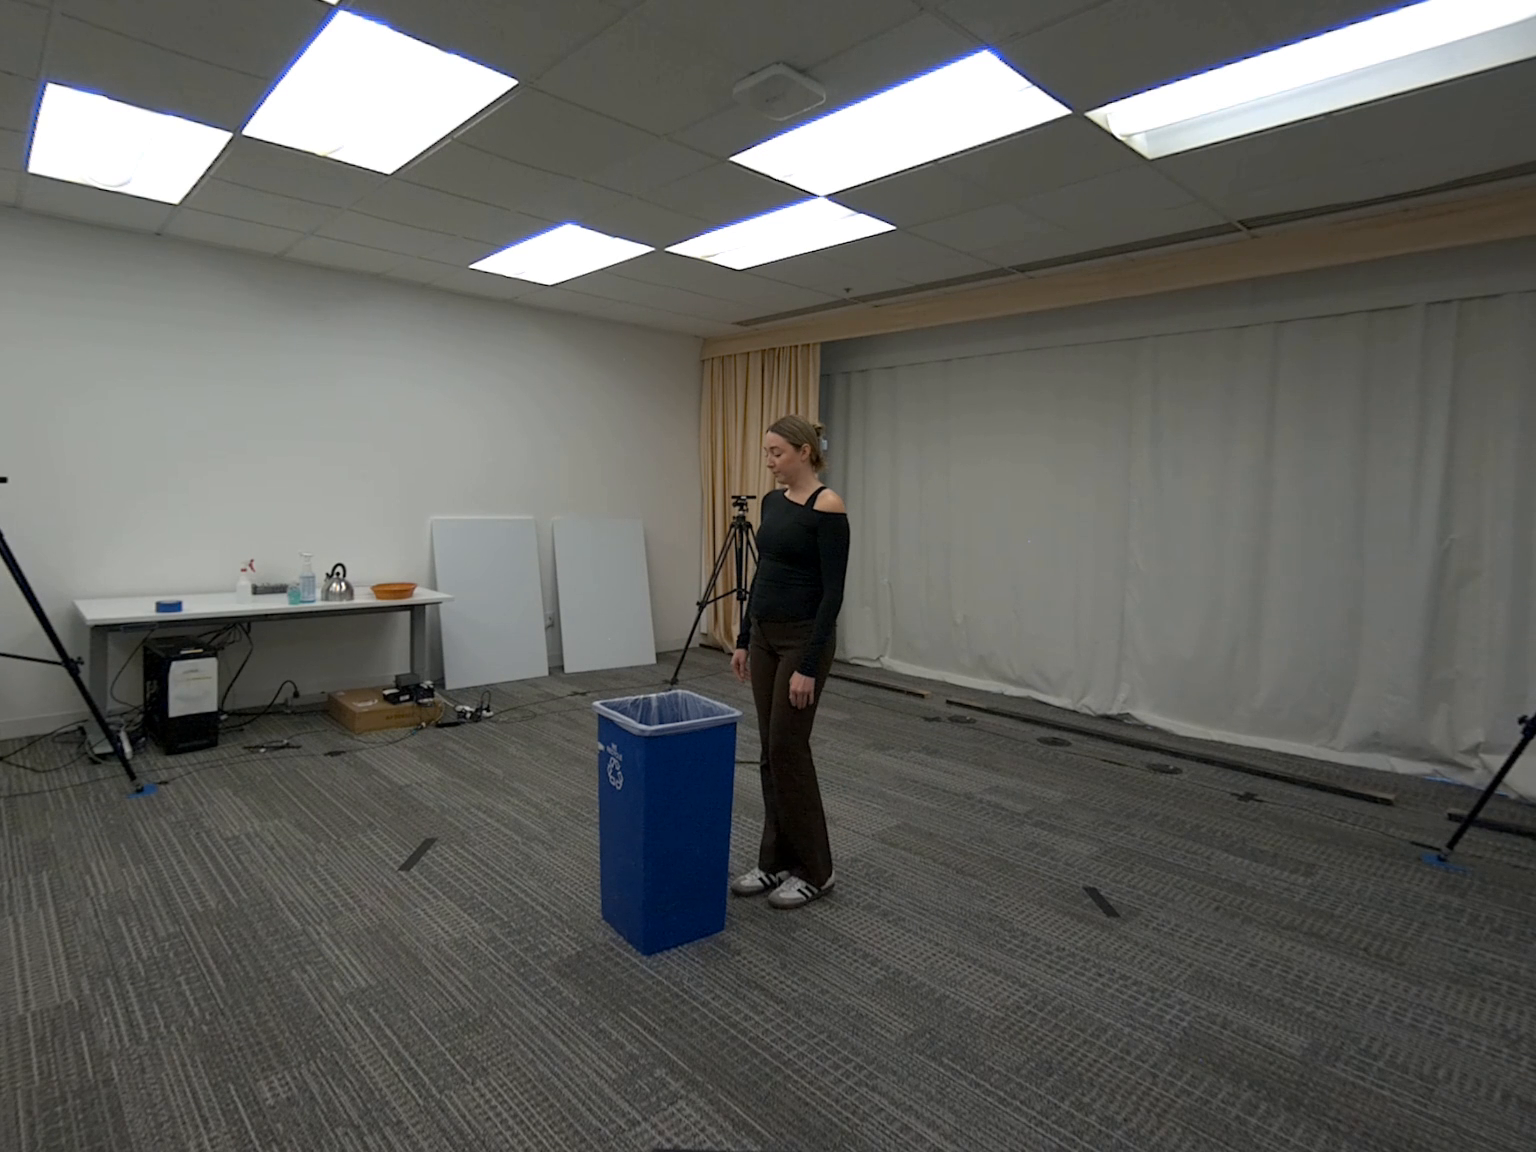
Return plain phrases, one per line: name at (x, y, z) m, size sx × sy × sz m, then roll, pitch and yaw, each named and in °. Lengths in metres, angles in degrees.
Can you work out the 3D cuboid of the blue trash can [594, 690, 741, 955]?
blue trash can at (-0.335, 0.779, 2.709) m, size 0.370 × 0.712 × 0.383 m, roll -1°, pitch 4°, yaw -36°
